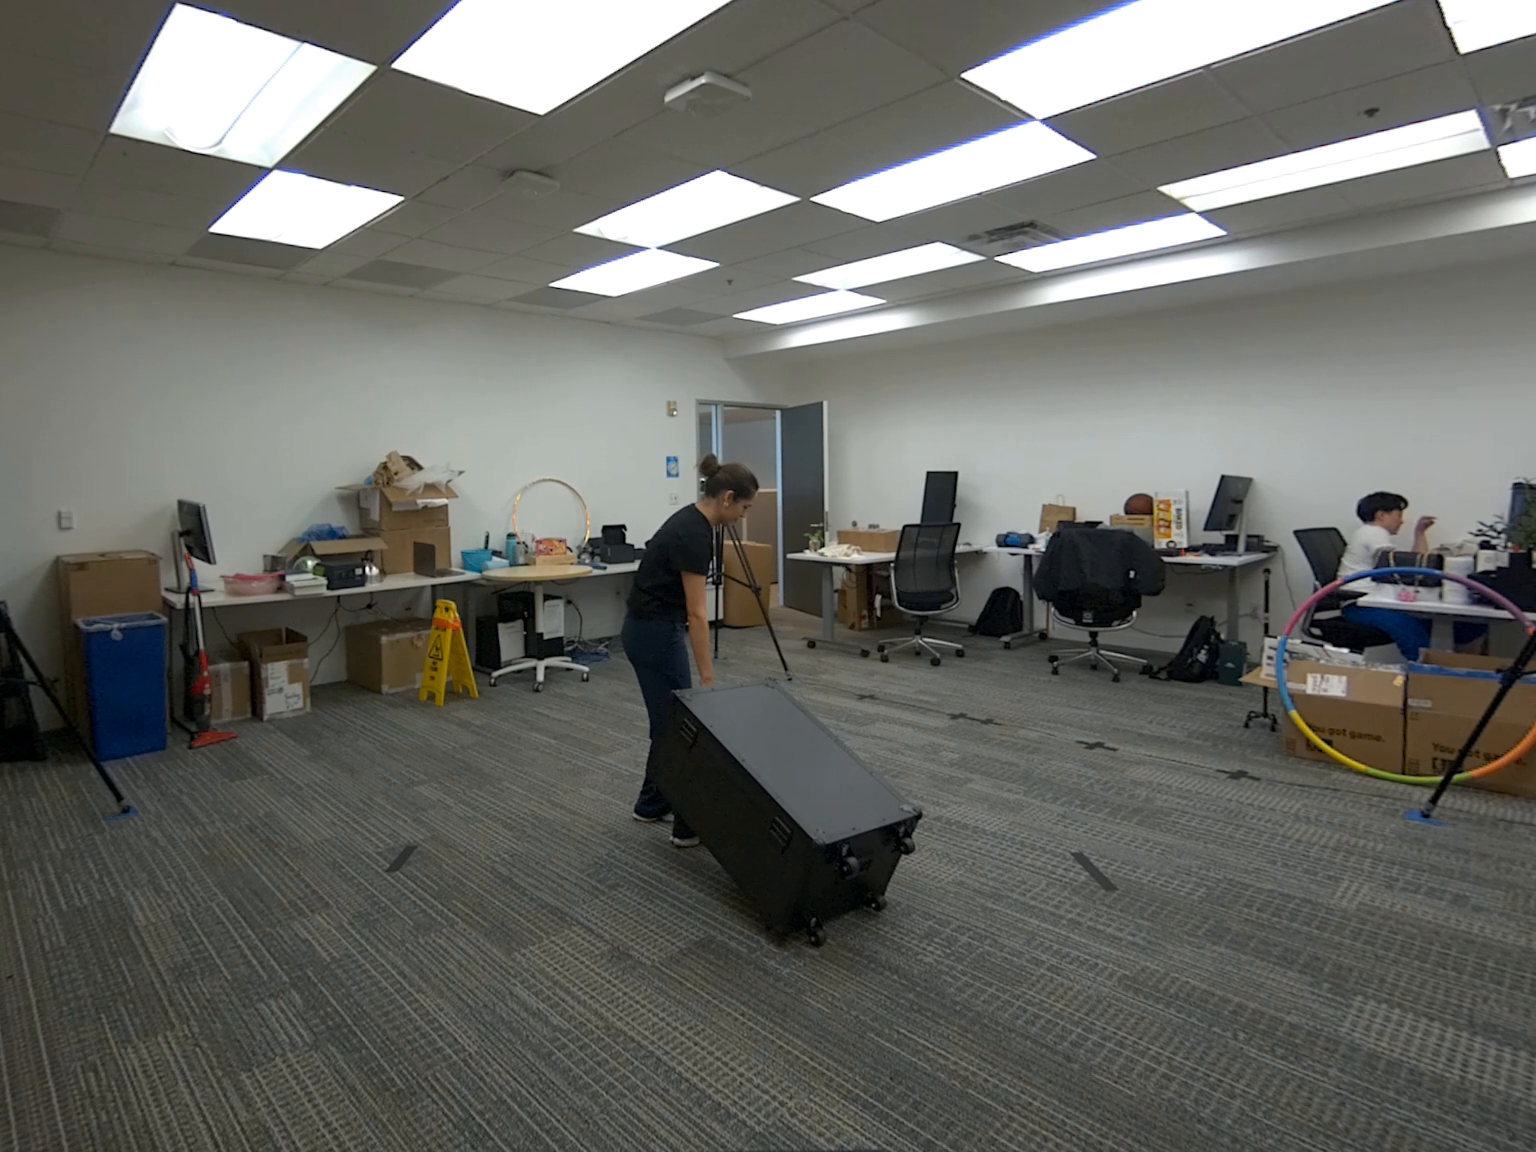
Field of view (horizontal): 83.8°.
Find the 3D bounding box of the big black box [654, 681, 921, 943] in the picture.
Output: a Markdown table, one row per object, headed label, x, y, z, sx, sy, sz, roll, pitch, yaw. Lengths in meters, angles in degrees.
| label | x | y | z | sx | sy | sz | roll | pitch | yaw |
| --- | --- | --- | --- | --- | --- | --- | --- | --- | --- |
| big black box | 0.010 | 0.727 | 2.931 | 0.506 | 0.392 | 0.896 | -1 | 28 | -41 |
